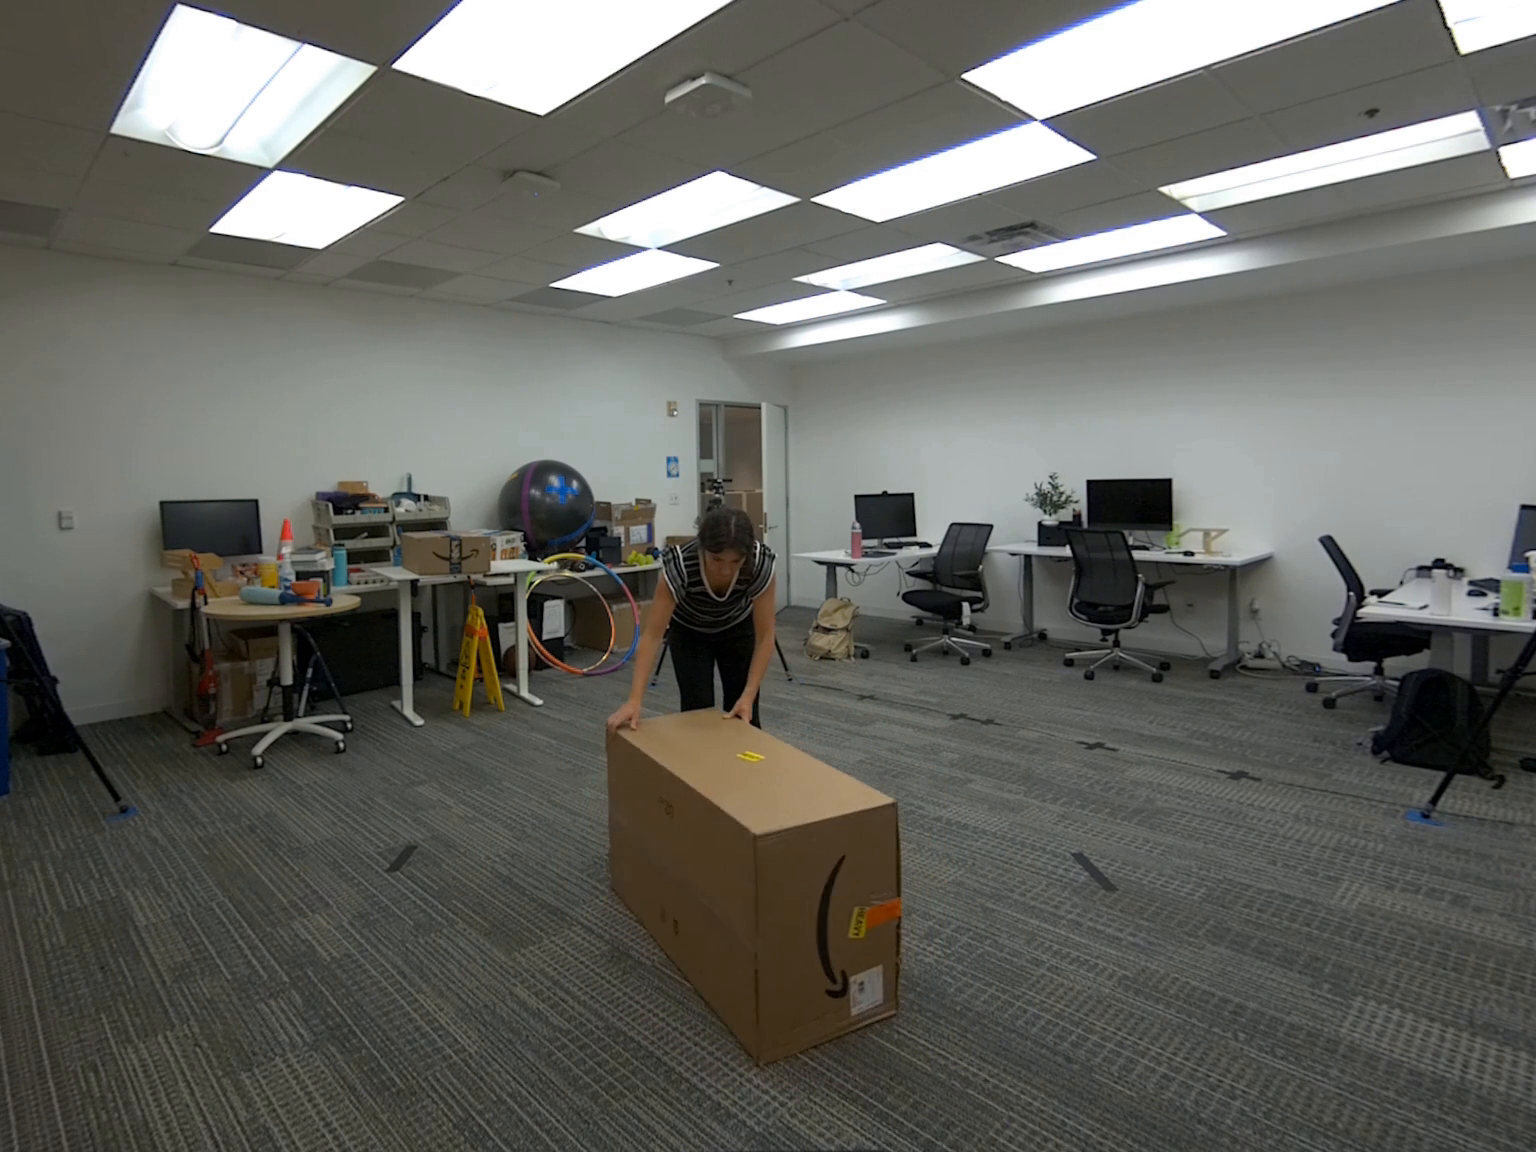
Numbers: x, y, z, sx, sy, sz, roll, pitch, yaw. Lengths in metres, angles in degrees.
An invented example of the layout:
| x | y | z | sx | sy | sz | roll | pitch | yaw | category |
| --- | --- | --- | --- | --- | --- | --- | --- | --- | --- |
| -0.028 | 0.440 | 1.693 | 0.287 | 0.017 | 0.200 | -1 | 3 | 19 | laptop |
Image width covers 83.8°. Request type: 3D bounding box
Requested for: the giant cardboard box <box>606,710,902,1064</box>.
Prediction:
| x | y | z | sx | sy | sz | roll | pitch | yaw | category |
| --- | --- | --- | --- | --- | --- | --- | --- | --- | --- |
| -0.096 | 0.820 | 2.555 | 0.416 | 0.575 | 1.054 | -3 | 6 | -29 | giant cardboard box |
